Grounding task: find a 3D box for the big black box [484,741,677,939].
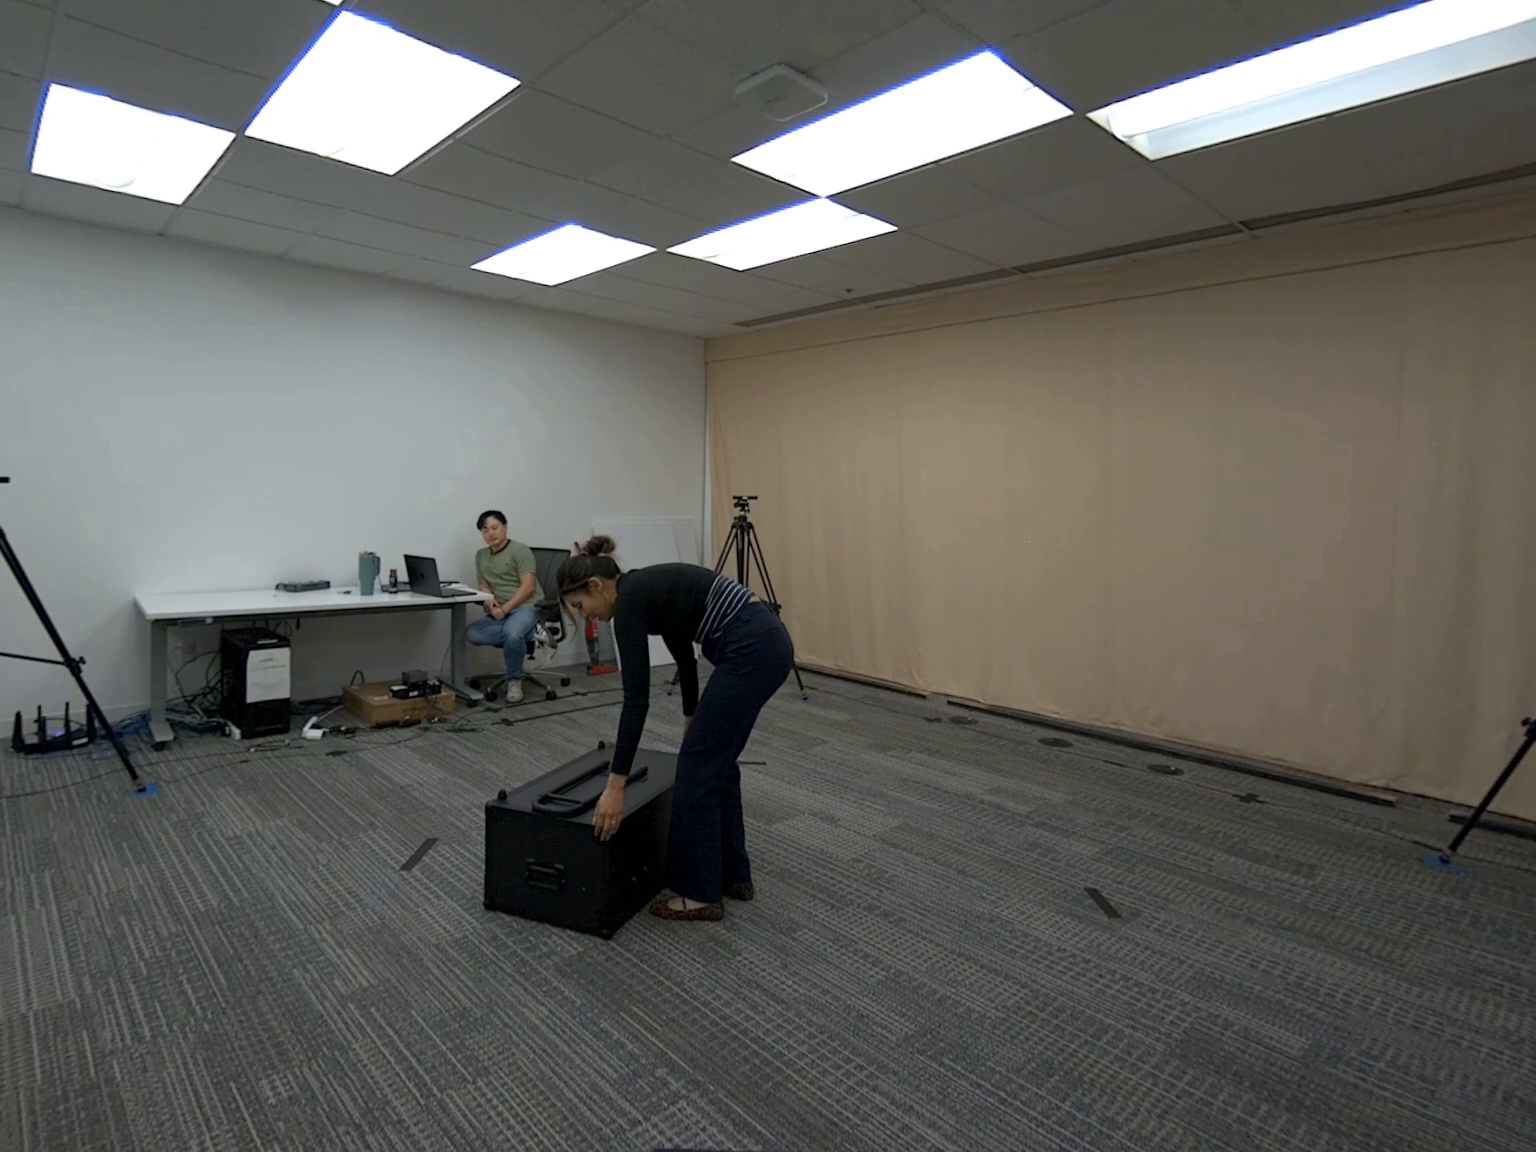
[{"bbox_3d":[-0.580,0.900,3.095,0.530,0.395,0.849,3,4,21],"label":"big black box"}]
